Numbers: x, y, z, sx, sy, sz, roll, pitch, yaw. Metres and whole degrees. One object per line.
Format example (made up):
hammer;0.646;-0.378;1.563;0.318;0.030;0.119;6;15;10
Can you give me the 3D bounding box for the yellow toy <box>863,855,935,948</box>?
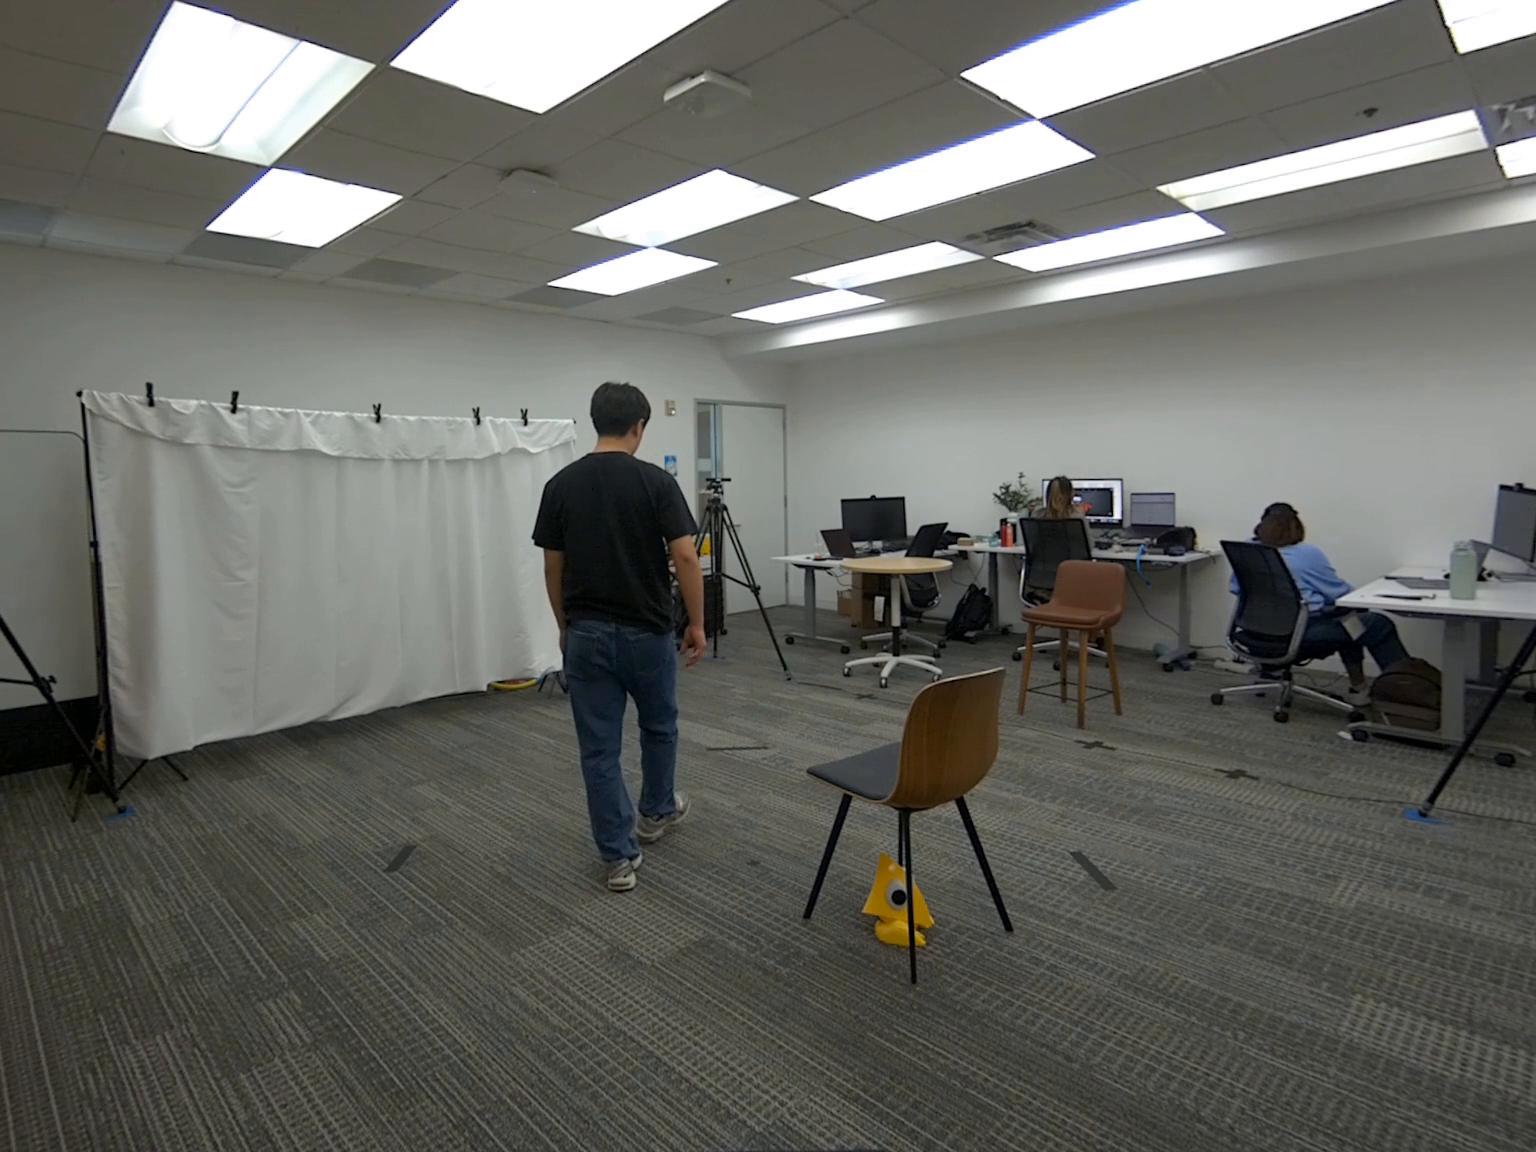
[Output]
yellow toy;0.413;0.978;2.633;0.197;0.230;0.201;0;5;24
